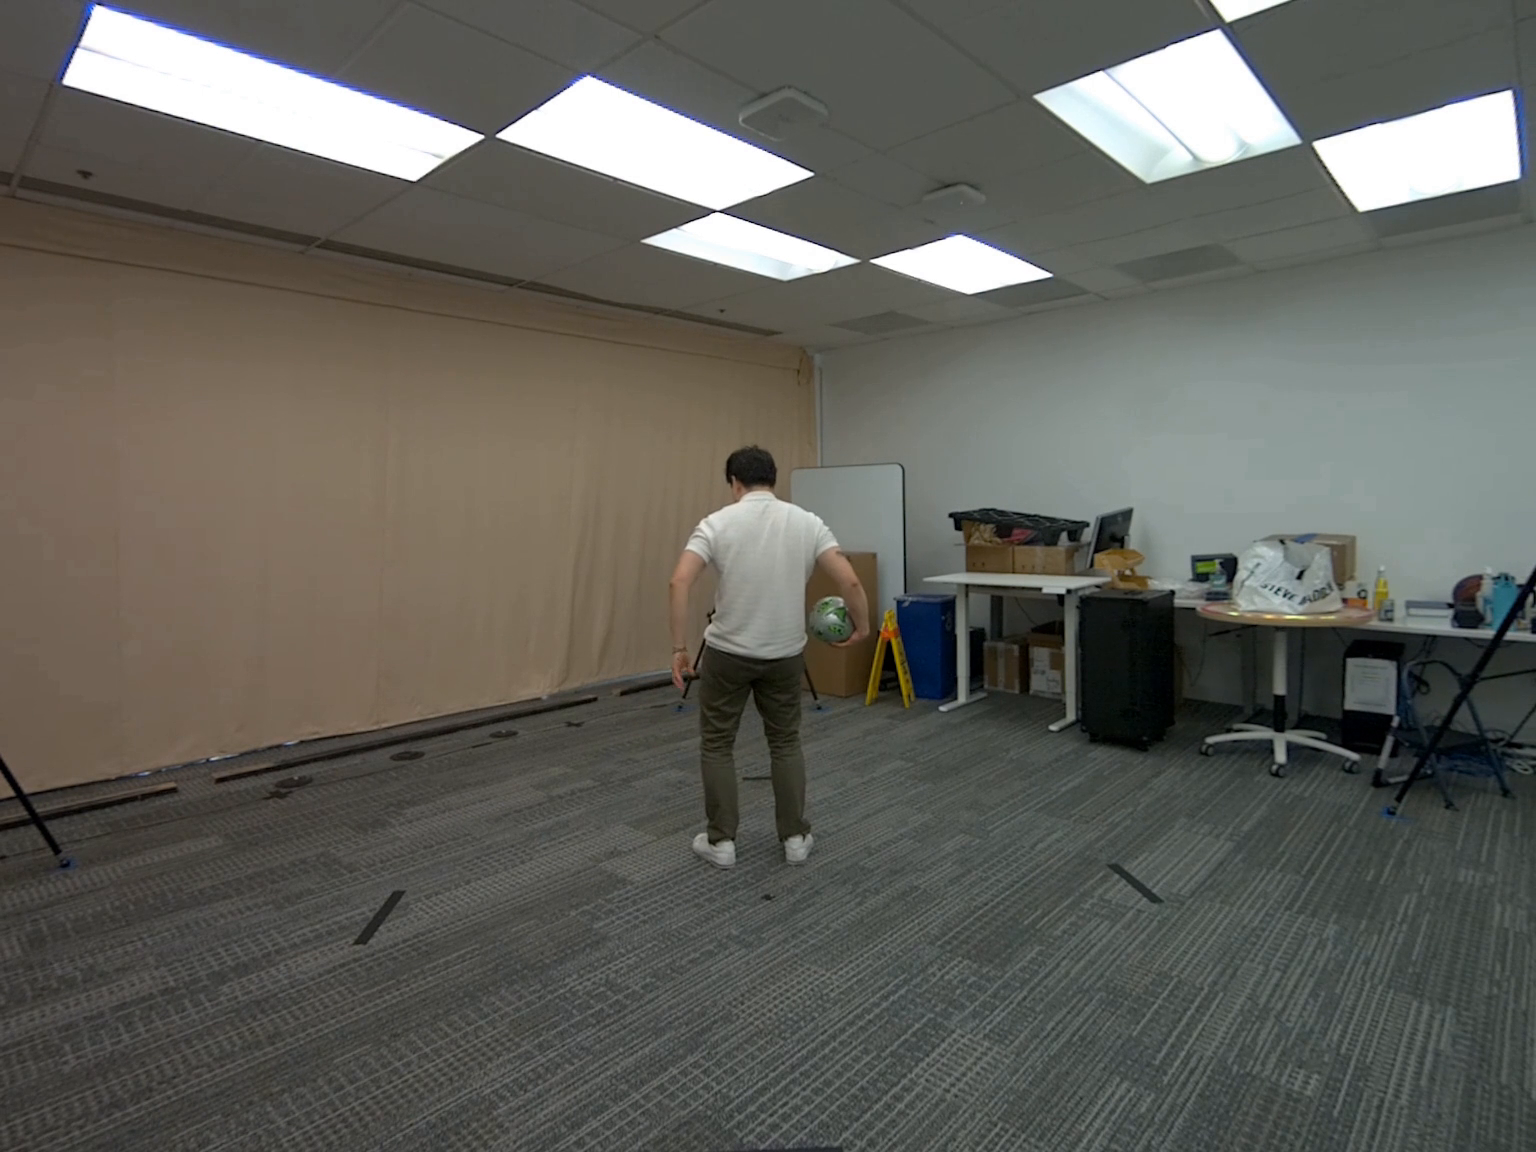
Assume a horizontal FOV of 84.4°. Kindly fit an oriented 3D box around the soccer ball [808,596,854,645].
[{"bbox_3d":[0.244,0.174,3.297,0.187,0.187,0.188,-1,4,-2],"label":"soccer ball"}]
